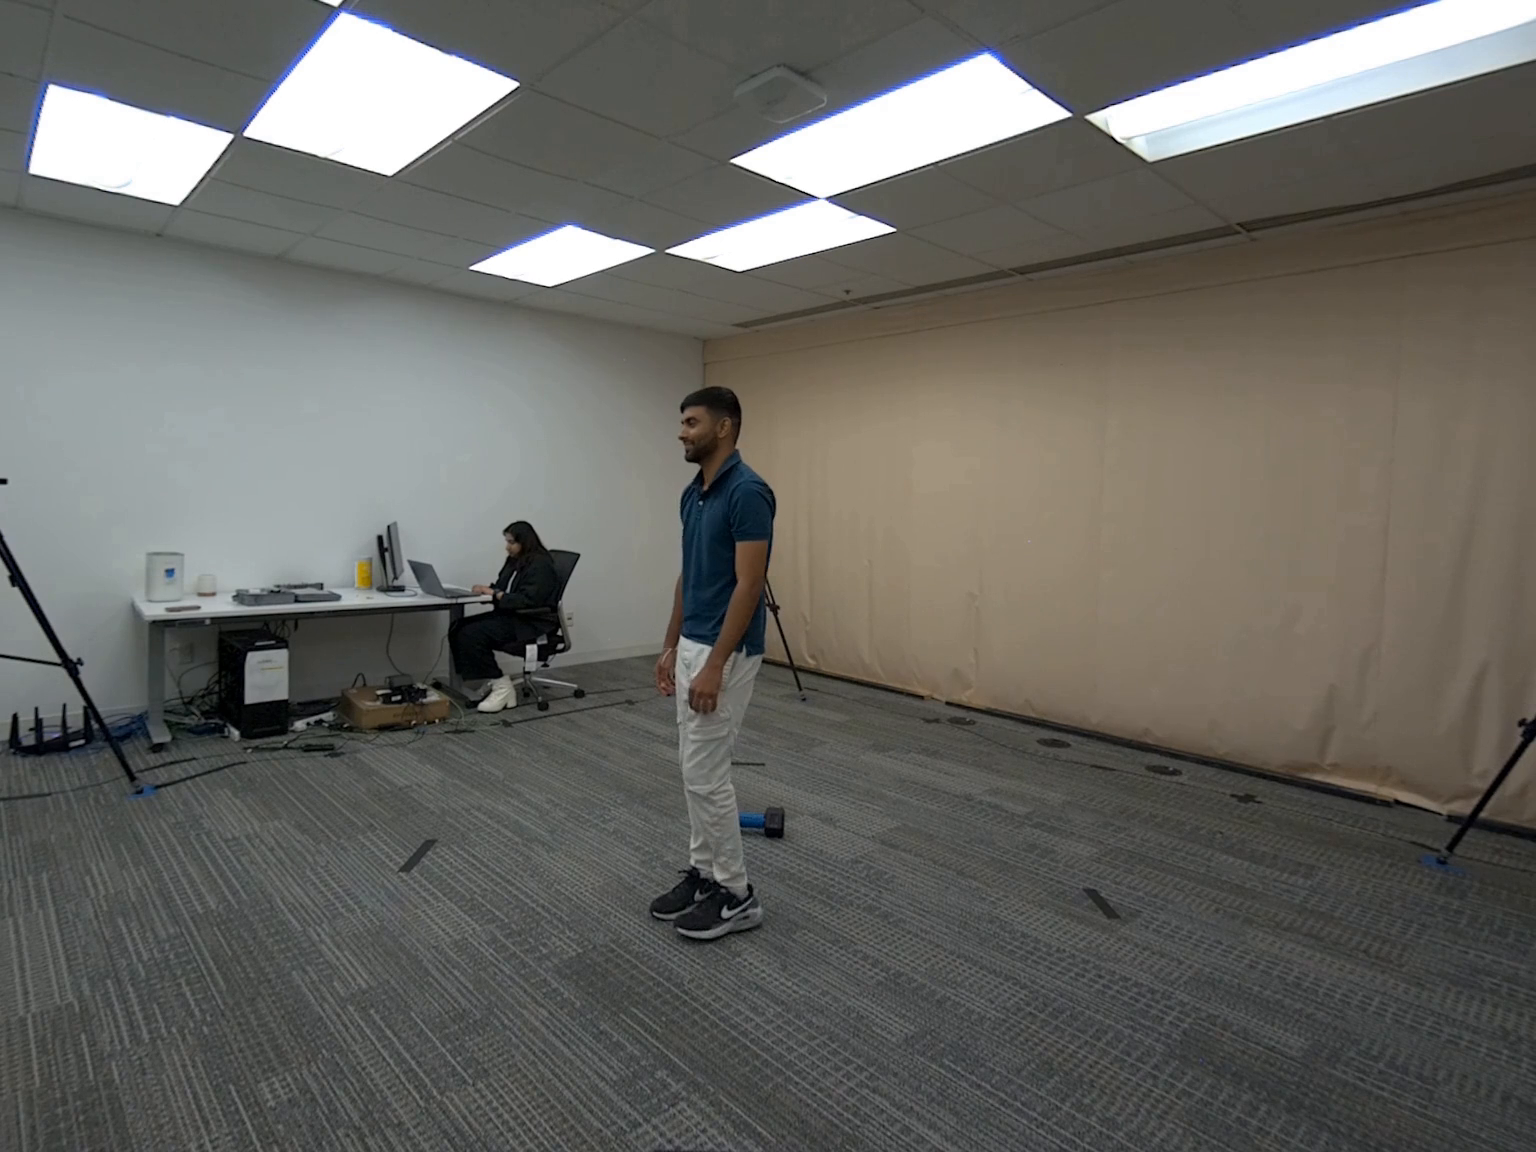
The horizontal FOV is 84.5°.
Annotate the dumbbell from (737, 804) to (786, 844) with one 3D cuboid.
[{"bbox_3d":[-0.083,1.021,3.505,0.295,0.125,0.106,2,-27,6],"label":"dumbbell"}]
